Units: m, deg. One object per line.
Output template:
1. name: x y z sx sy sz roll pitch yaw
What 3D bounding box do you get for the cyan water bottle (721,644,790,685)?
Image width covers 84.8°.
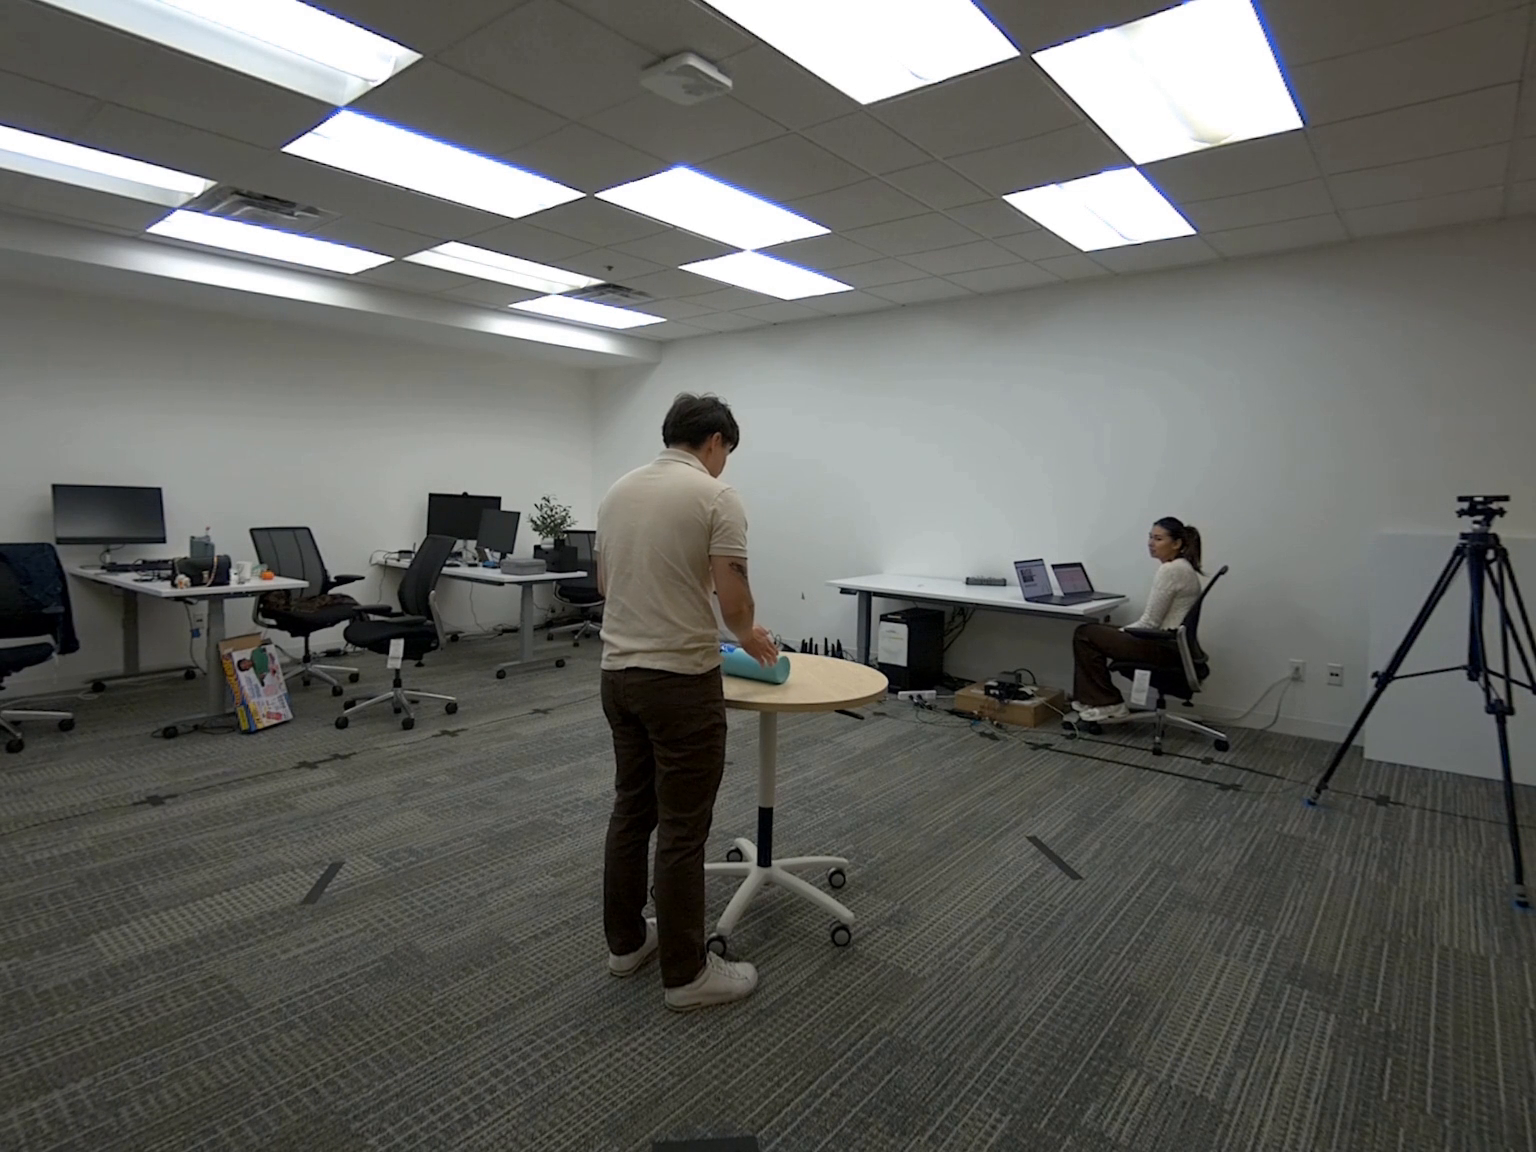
1. cyan water bottle: -0.078 0.274 2.728 0.292 0.092 0.090 6 6 34
